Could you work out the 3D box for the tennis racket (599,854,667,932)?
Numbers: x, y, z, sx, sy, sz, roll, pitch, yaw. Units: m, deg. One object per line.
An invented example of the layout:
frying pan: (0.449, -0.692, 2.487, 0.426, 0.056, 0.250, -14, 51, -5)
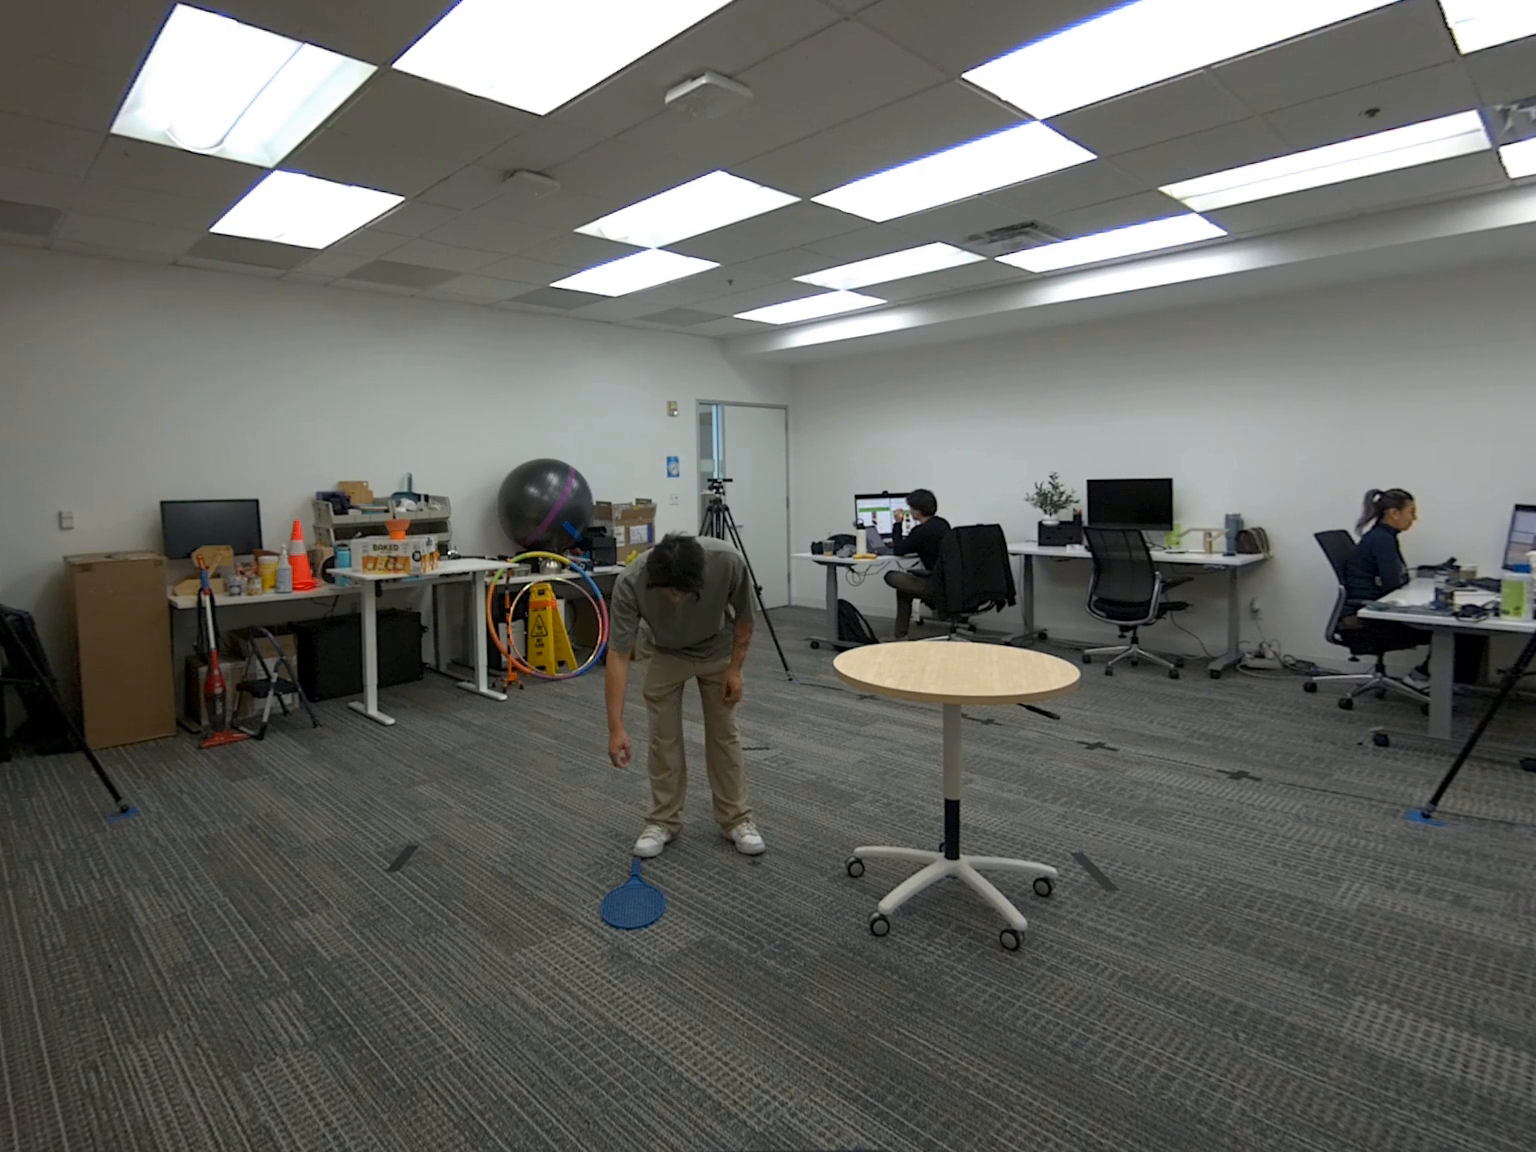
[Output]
tennis racket: (-0.454, 1.071, 2.881, 0.212, 0.031, 0.438, -2, 8, -7)
